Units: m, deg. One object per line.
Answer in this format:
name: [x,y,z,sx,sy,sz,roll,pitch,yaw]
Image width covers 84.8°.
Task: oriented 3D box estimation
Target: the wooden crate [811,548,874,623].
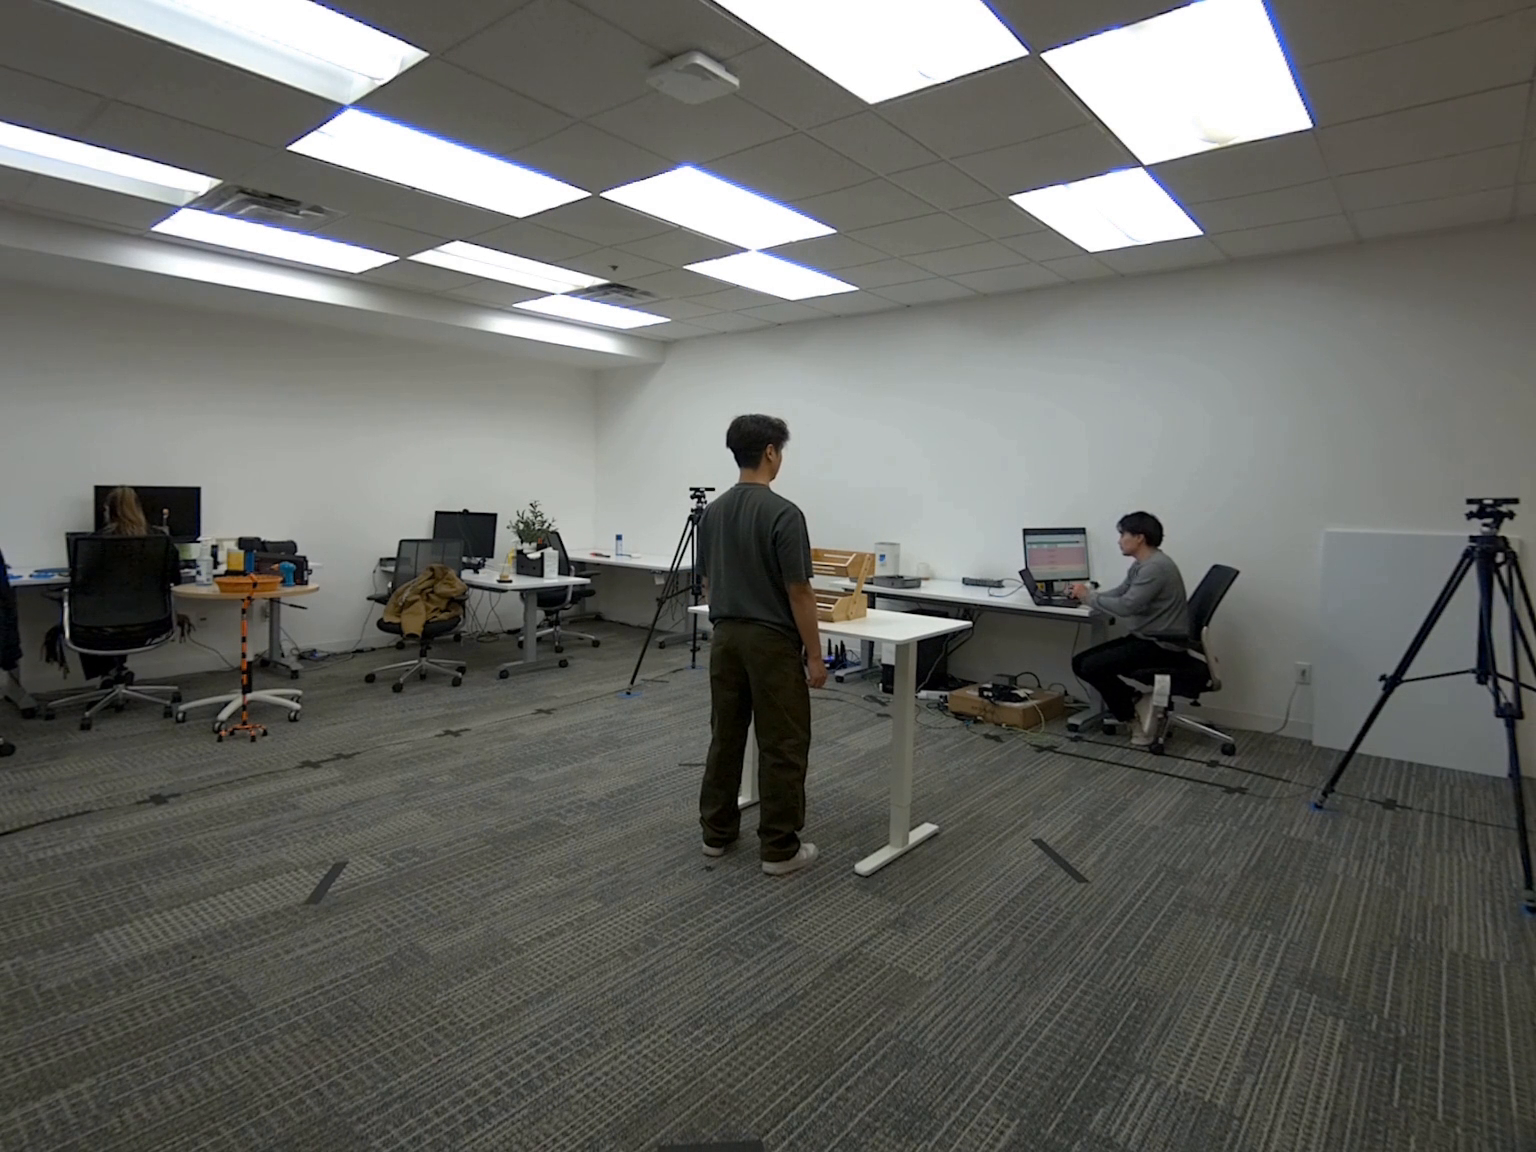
wooden crate: [0.218,0.022,3.477,0.335,0.272,0.293,6,5,39]
